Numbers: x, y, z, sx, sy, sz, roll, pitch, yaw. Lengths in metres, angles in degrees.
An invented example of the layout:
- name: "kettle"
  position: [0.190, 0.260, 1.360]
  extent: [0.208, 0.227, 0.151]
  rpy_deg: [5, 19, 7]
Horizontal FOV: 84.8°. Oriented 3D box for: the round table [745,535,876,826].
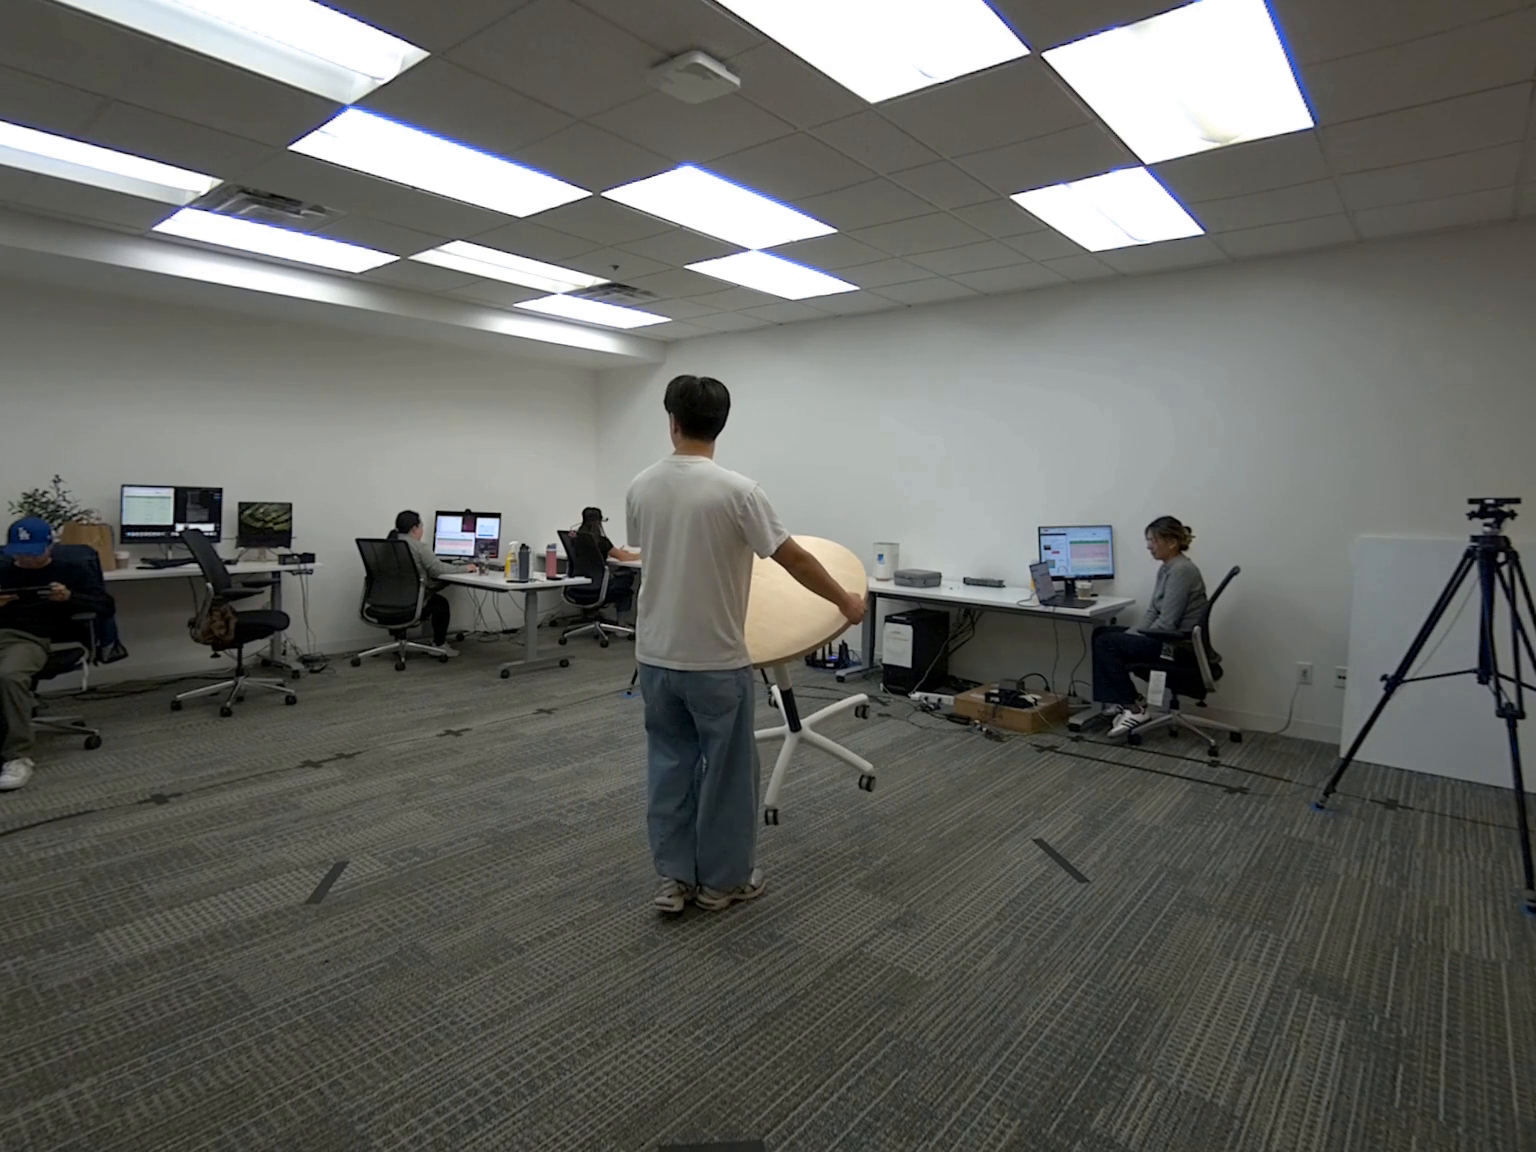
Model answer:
- name: "round table"
  position: [0.038, 0.394, 3.248]
  extent: [0.768, 0.770, 0.784]
  rpy_deg: [-12, 30, 5]
